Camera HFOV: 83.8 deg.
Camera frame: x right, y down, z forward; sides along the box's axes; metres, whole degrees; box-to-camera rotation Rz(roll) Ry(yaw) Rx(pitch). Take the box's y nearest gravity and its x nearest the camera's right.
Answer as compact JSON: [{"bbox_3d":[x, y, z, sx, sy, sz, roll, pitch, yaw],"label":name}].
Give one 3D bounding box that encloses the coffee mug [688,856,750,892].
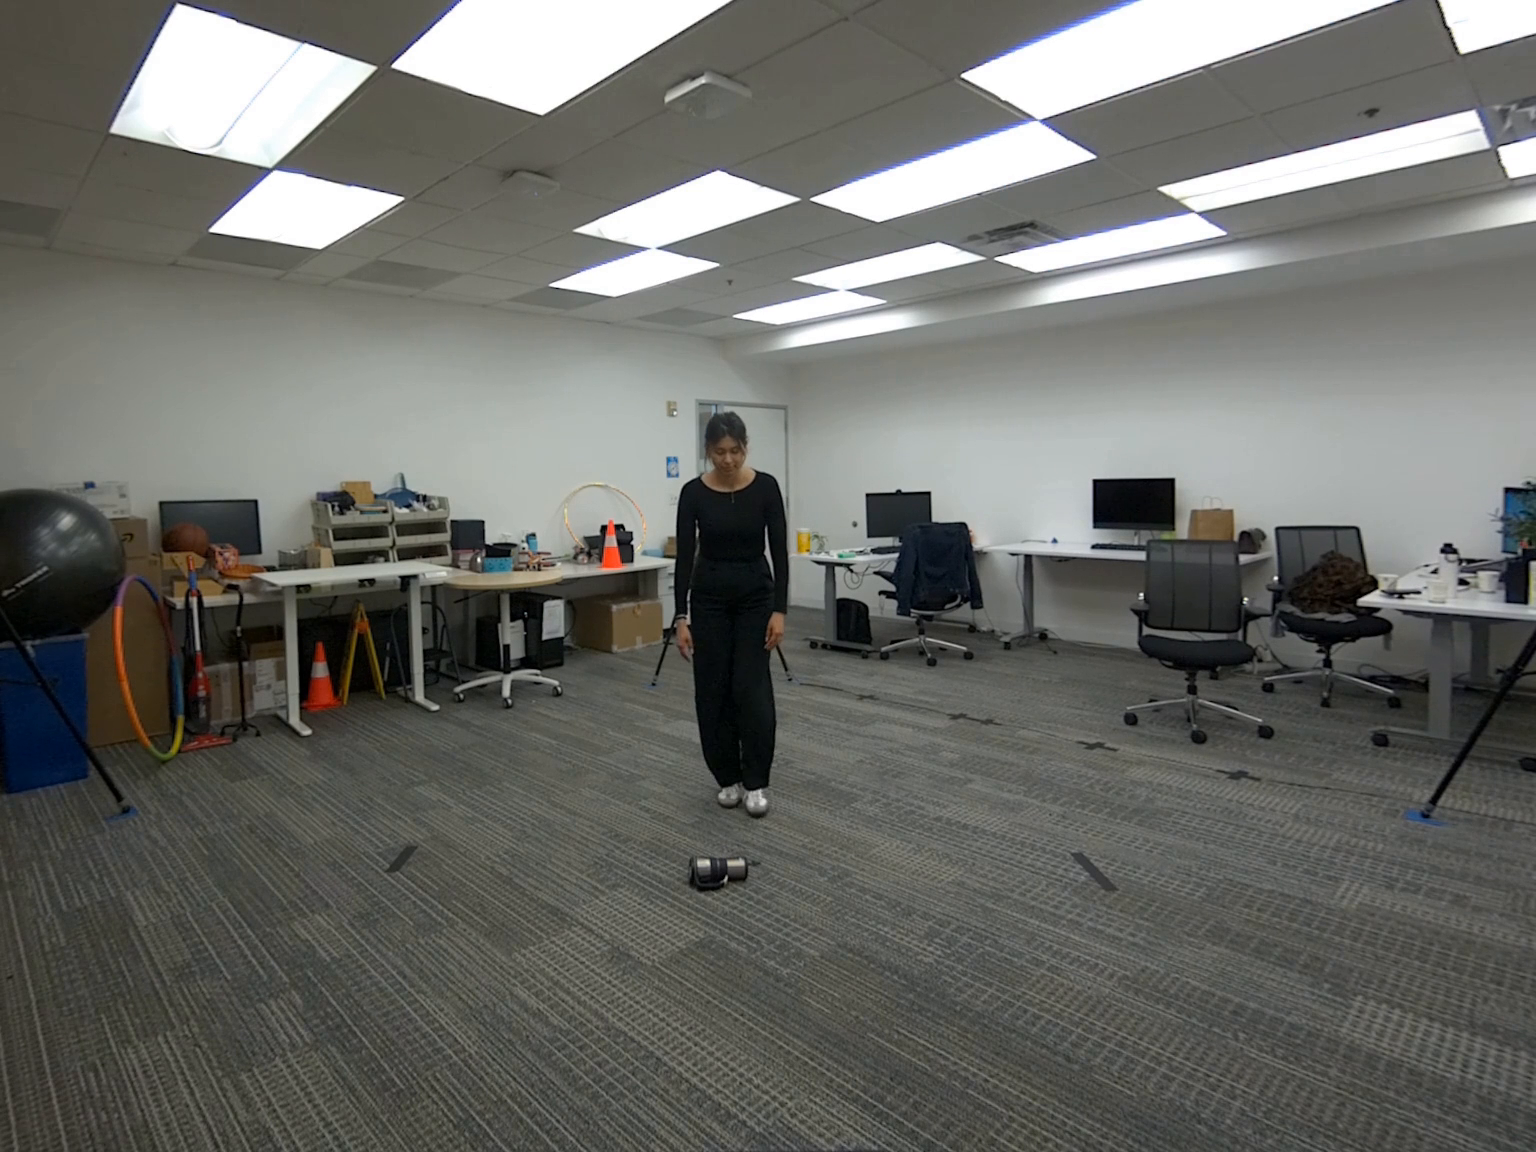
[{"bbox_3d":[-0.176,1.037,2.967,0.201,0.125,0.086,3,-36,-11],"label":"coffee mug"}]
